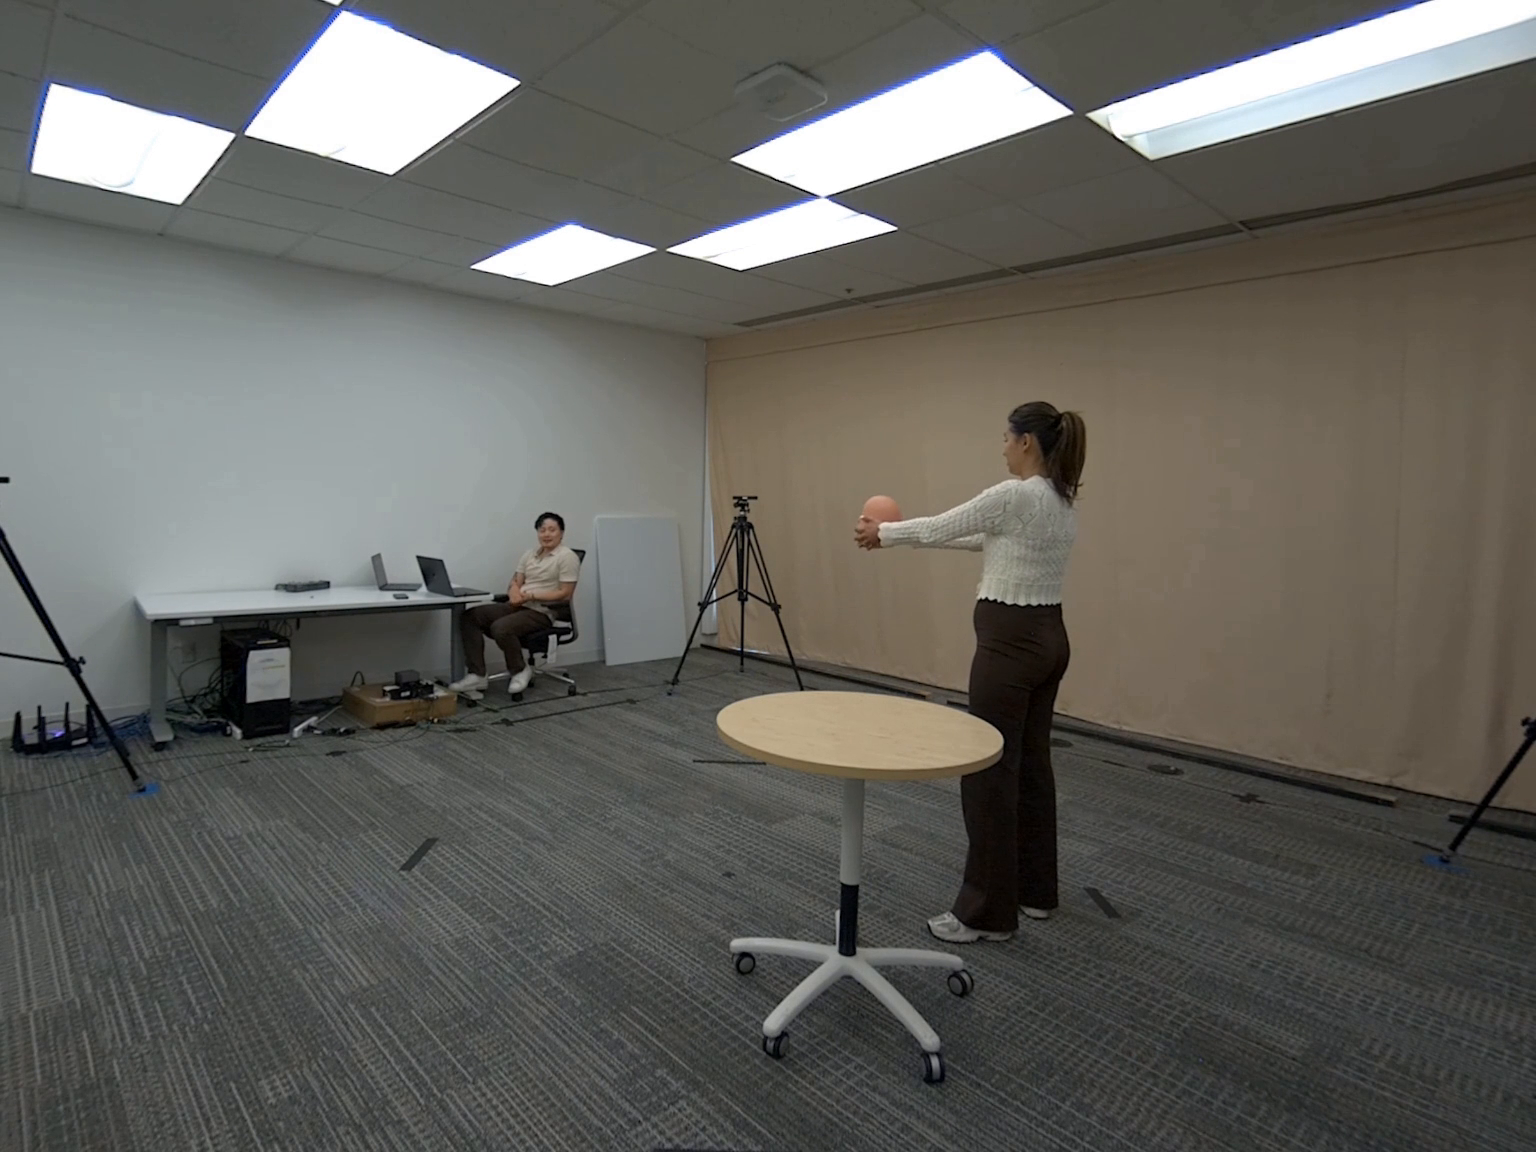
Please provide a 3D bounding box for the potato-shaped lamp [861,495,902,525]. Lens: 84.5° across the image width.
[{"bbox_3d":[0.424,-0.203,3.188,0.161,0.198,0.175,-4,3,-35],"label":"potato-shaped lamp"}]
